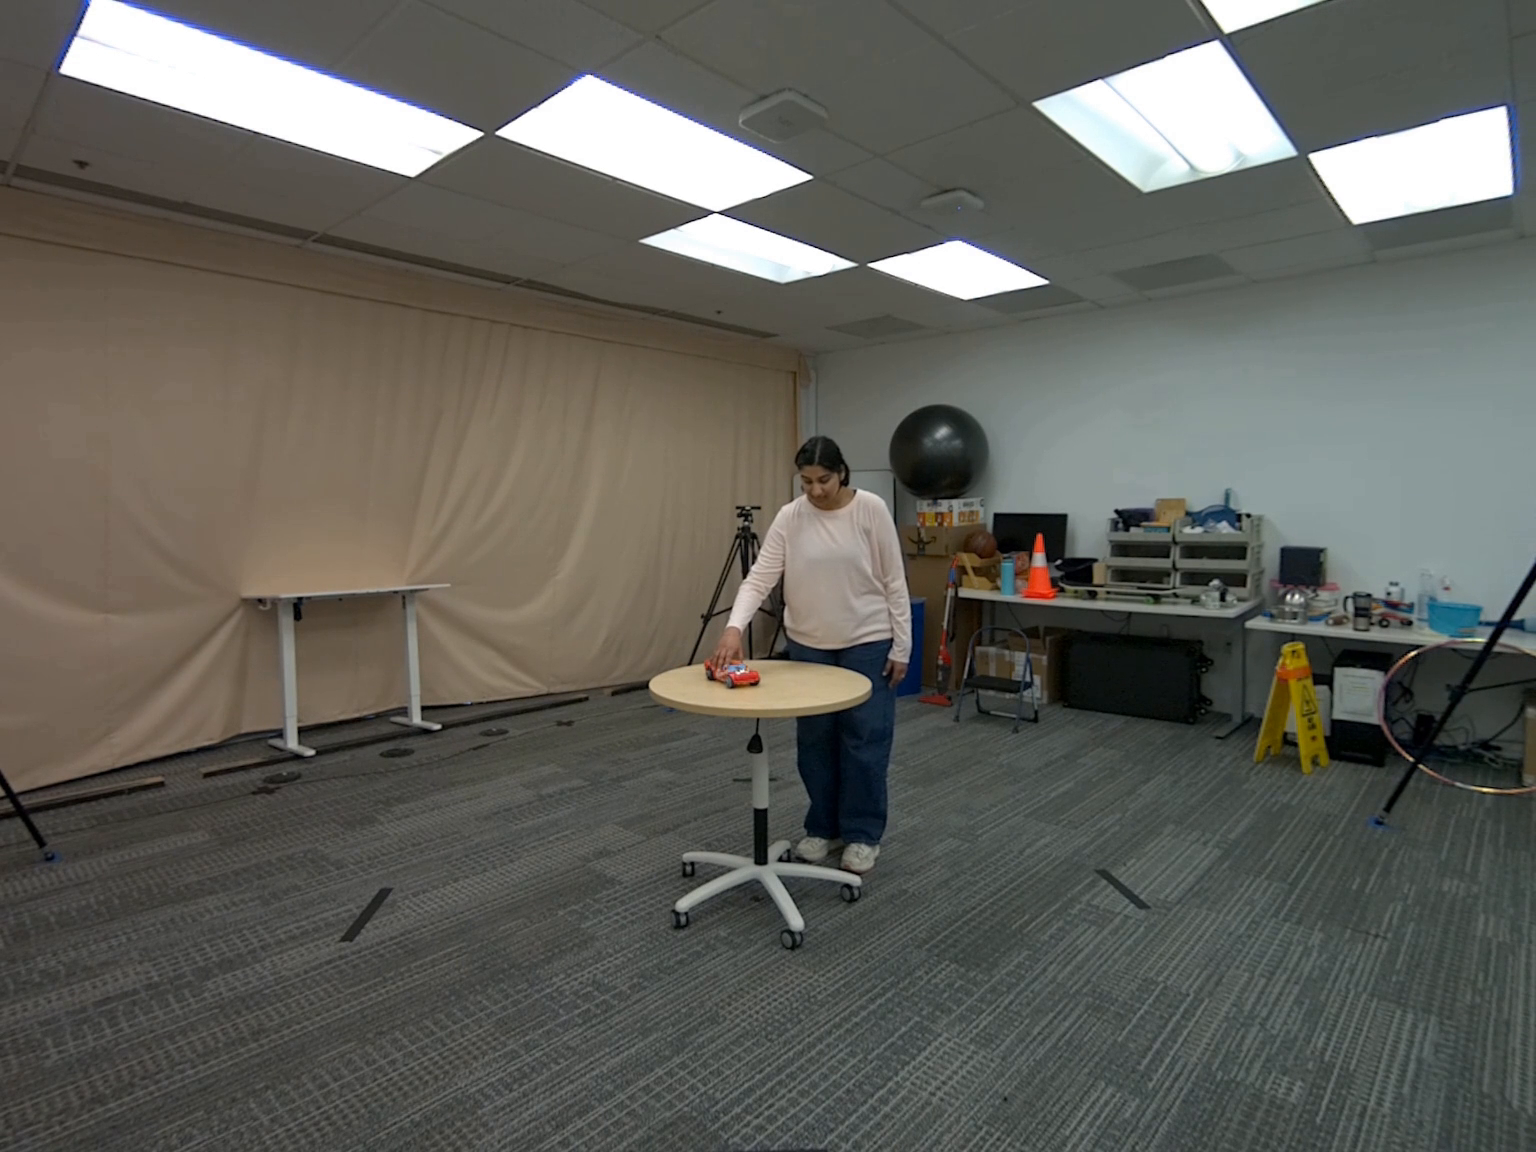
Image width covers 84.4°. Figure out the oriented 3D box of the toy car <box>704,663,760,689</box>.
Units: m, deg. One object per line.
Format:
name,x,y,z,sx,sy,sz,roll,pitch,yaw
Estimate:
toy car,-0.127,0.337,2.923,0.127,0.082,0.263,-3,16,-29
